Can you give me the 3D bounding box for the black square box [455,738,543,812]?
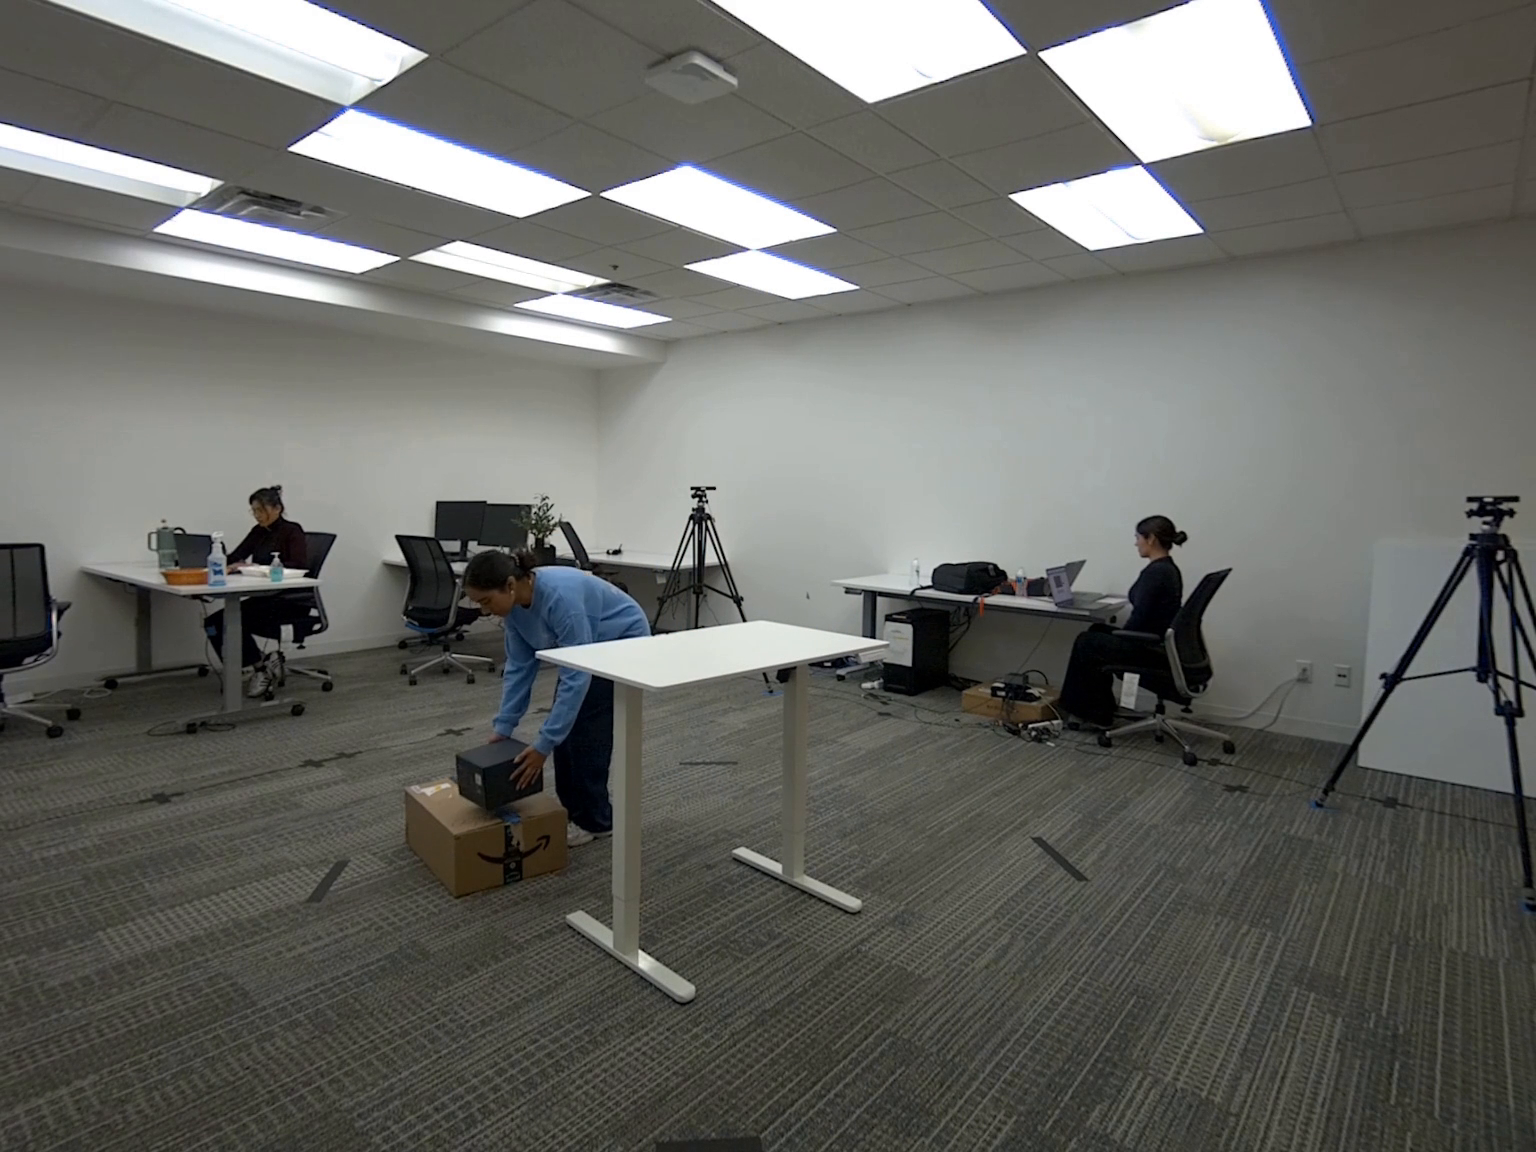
[{"bbox_3d":[-0.981,0.690,3.068,0.222,0.155,0.224,-10,10,-42],"label":"black square box"}]
